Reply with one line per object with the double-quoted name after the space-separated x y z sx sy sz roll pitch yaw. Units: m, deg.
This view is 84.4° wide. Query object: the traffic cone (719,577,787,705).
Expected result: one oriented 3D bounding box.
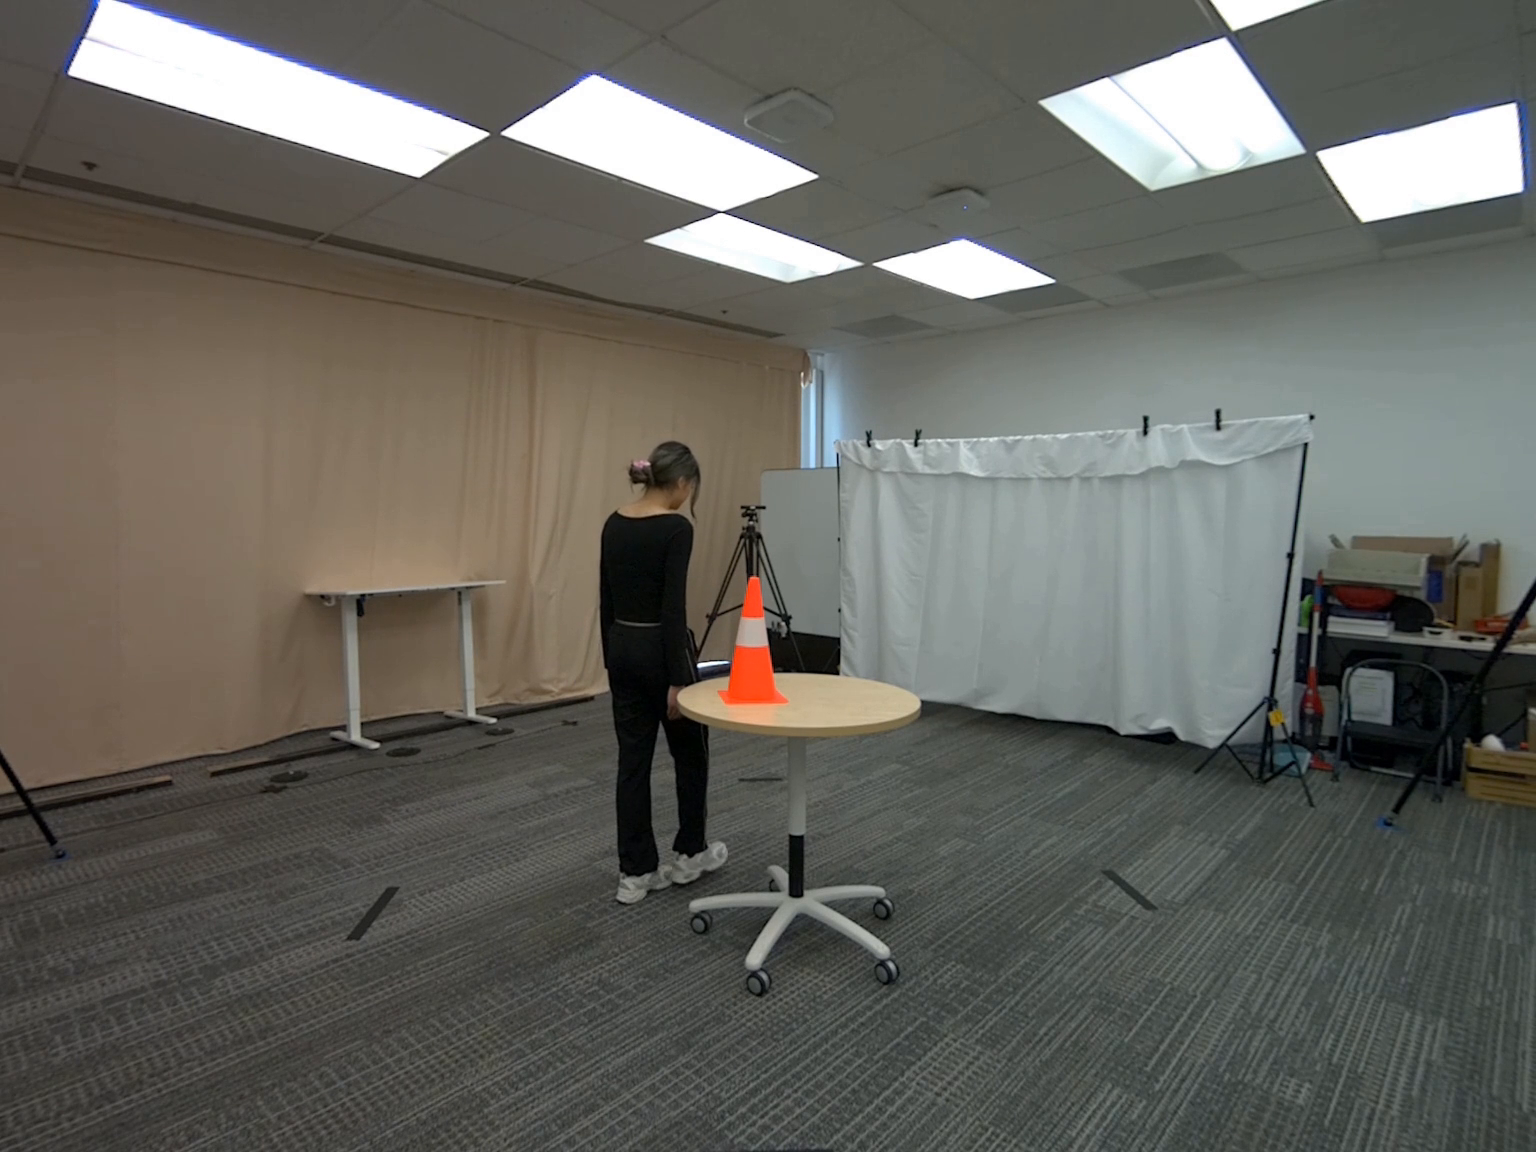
-0.046 0.199 2.661 0.201 0.383 0.208 -1 3 -13 "traffic cone"
